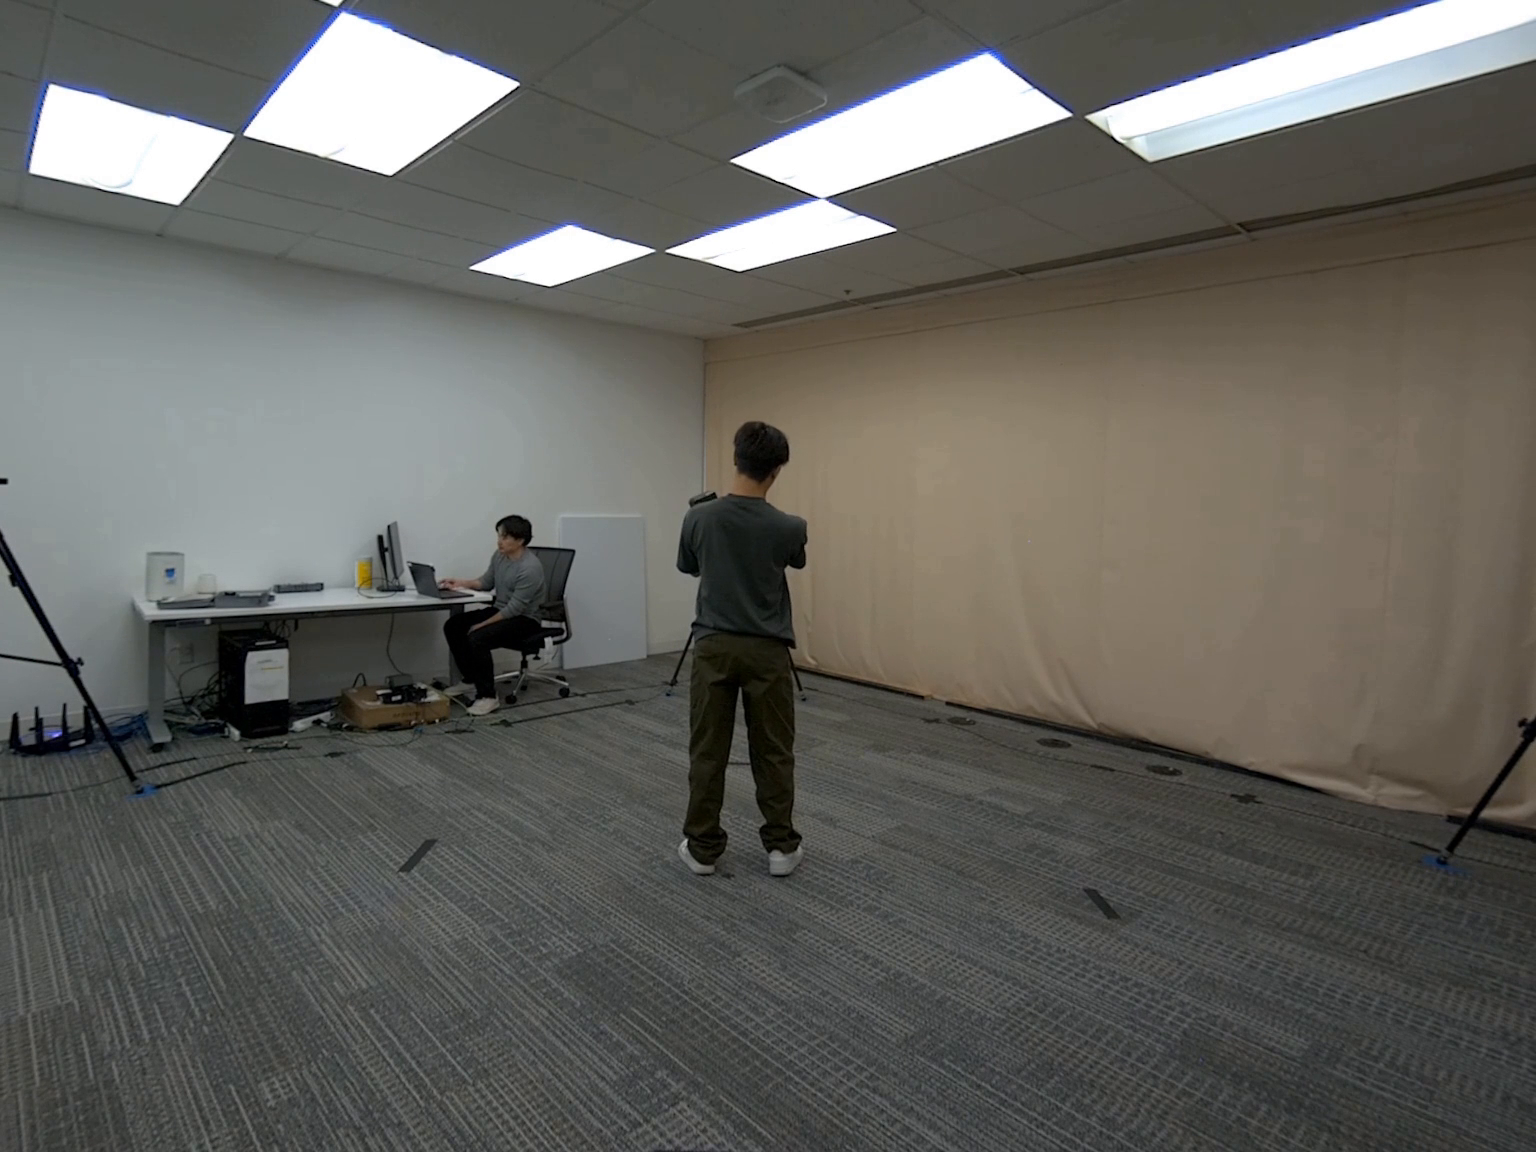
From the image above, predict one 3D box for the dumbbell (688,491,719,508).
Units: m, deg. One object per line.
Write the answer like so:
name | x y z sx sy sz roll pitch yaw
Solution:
dumbbell | -0.232 -0.208 3.563 0.123 0.291 0.109 -20 10 3
